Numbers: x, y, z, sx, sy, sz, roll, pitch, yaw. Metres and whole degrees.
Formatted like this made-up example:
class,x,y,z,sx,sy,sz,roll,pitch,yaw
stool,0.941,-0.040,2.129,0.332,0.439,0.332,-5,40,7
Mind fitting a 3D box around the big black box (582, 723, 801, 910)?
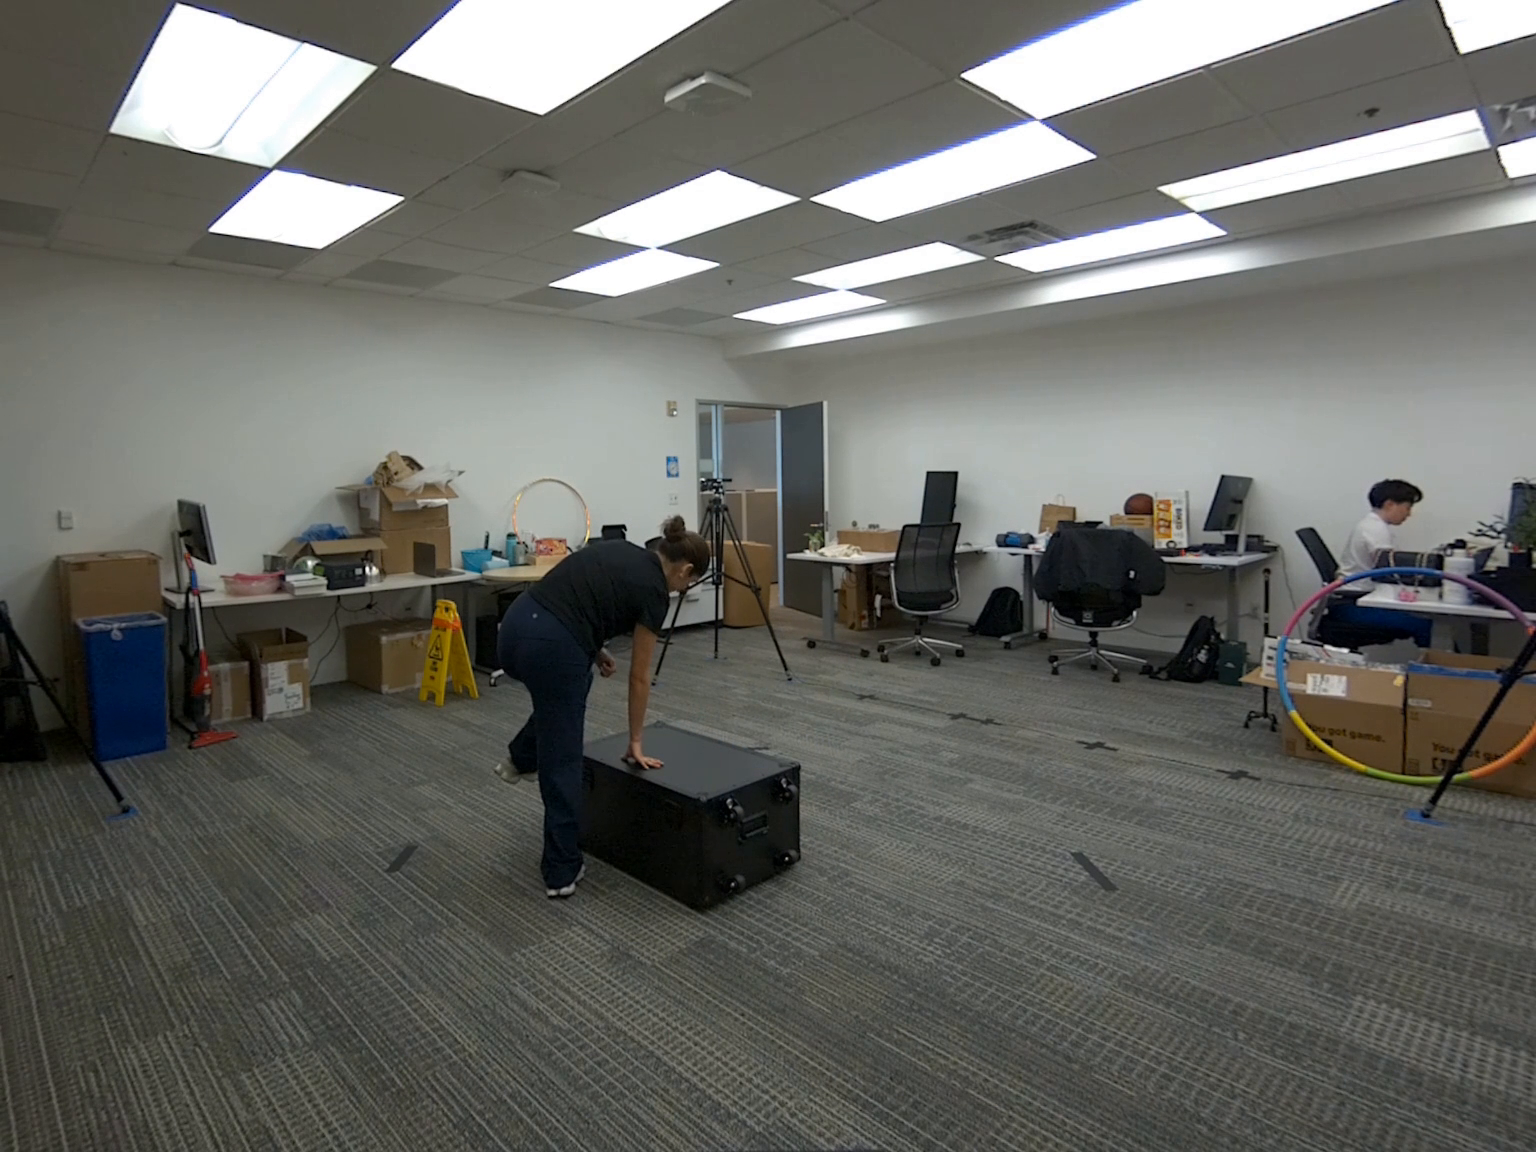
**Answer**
class,x,y,z,sx,sy,sz,roll,pitch,yaw
big black box,-0.304,0.834,3.164,0.888,0.394,0.508,5,8,44
